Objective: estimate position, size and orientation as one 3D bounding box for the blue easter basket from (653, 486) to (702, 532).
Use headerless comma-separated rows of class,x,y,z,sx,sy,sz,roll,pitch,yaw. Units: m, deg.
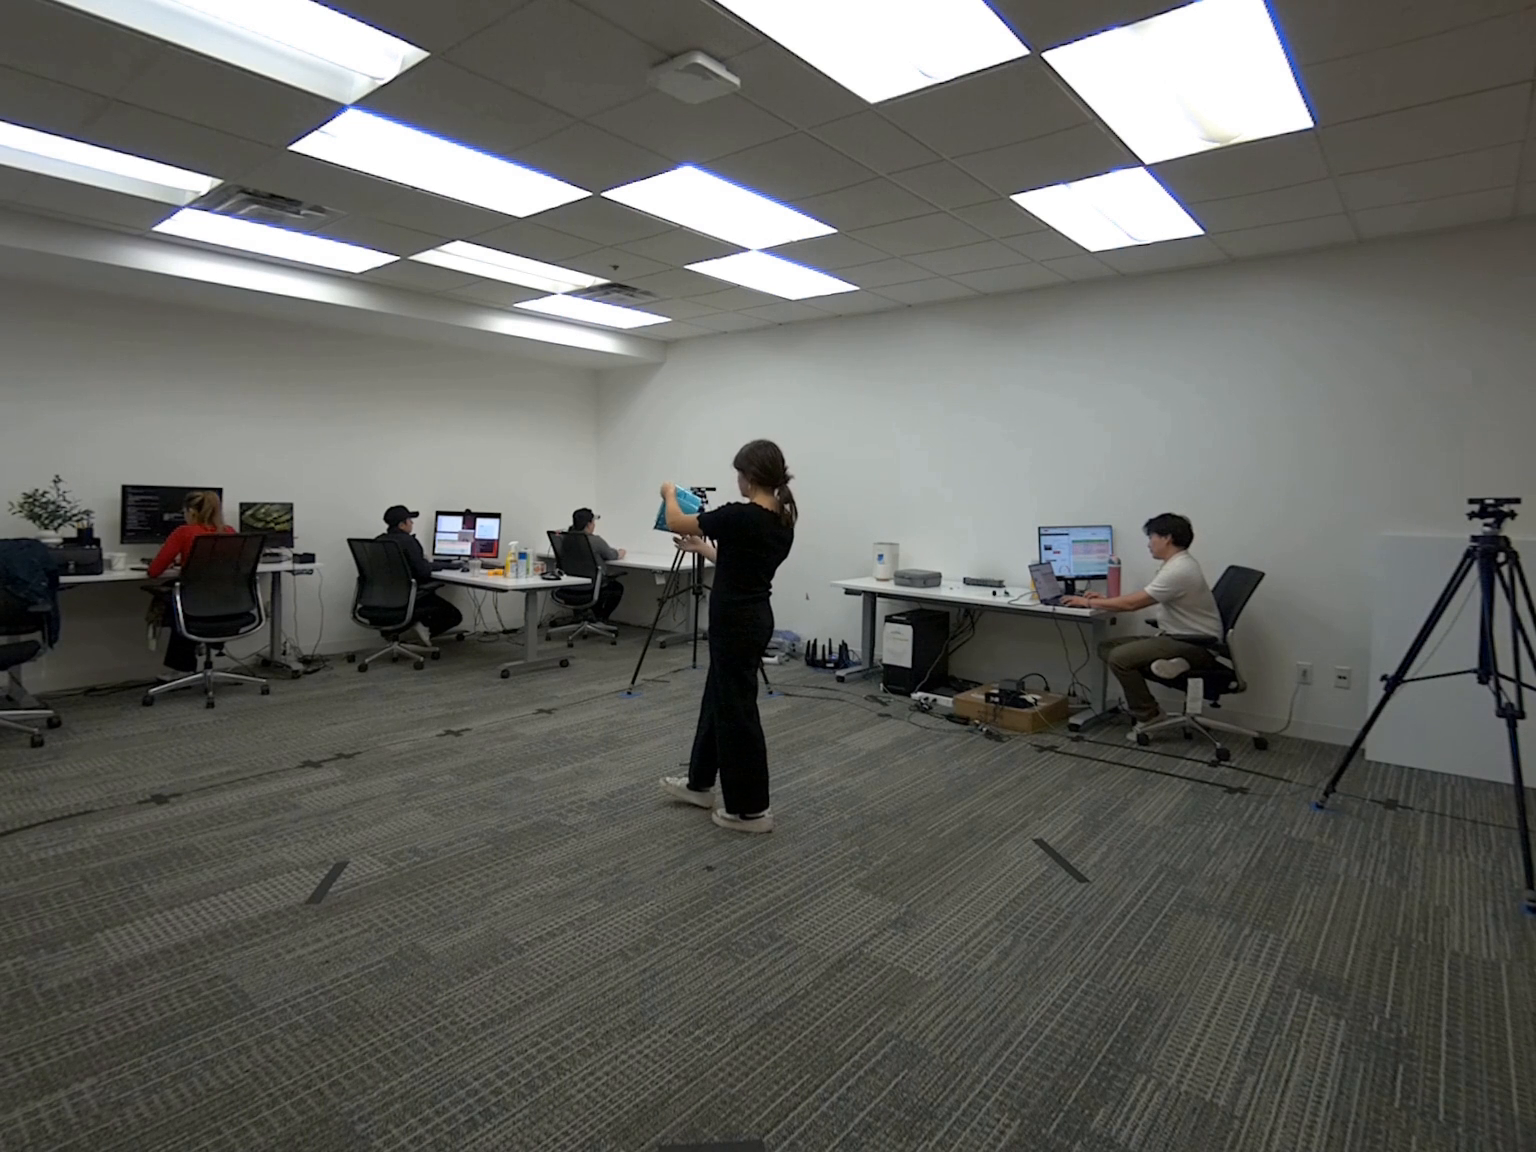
blue easter basket,-0.420,-0.291,3.768,0.154,0.243,0.246,18,2,-9
